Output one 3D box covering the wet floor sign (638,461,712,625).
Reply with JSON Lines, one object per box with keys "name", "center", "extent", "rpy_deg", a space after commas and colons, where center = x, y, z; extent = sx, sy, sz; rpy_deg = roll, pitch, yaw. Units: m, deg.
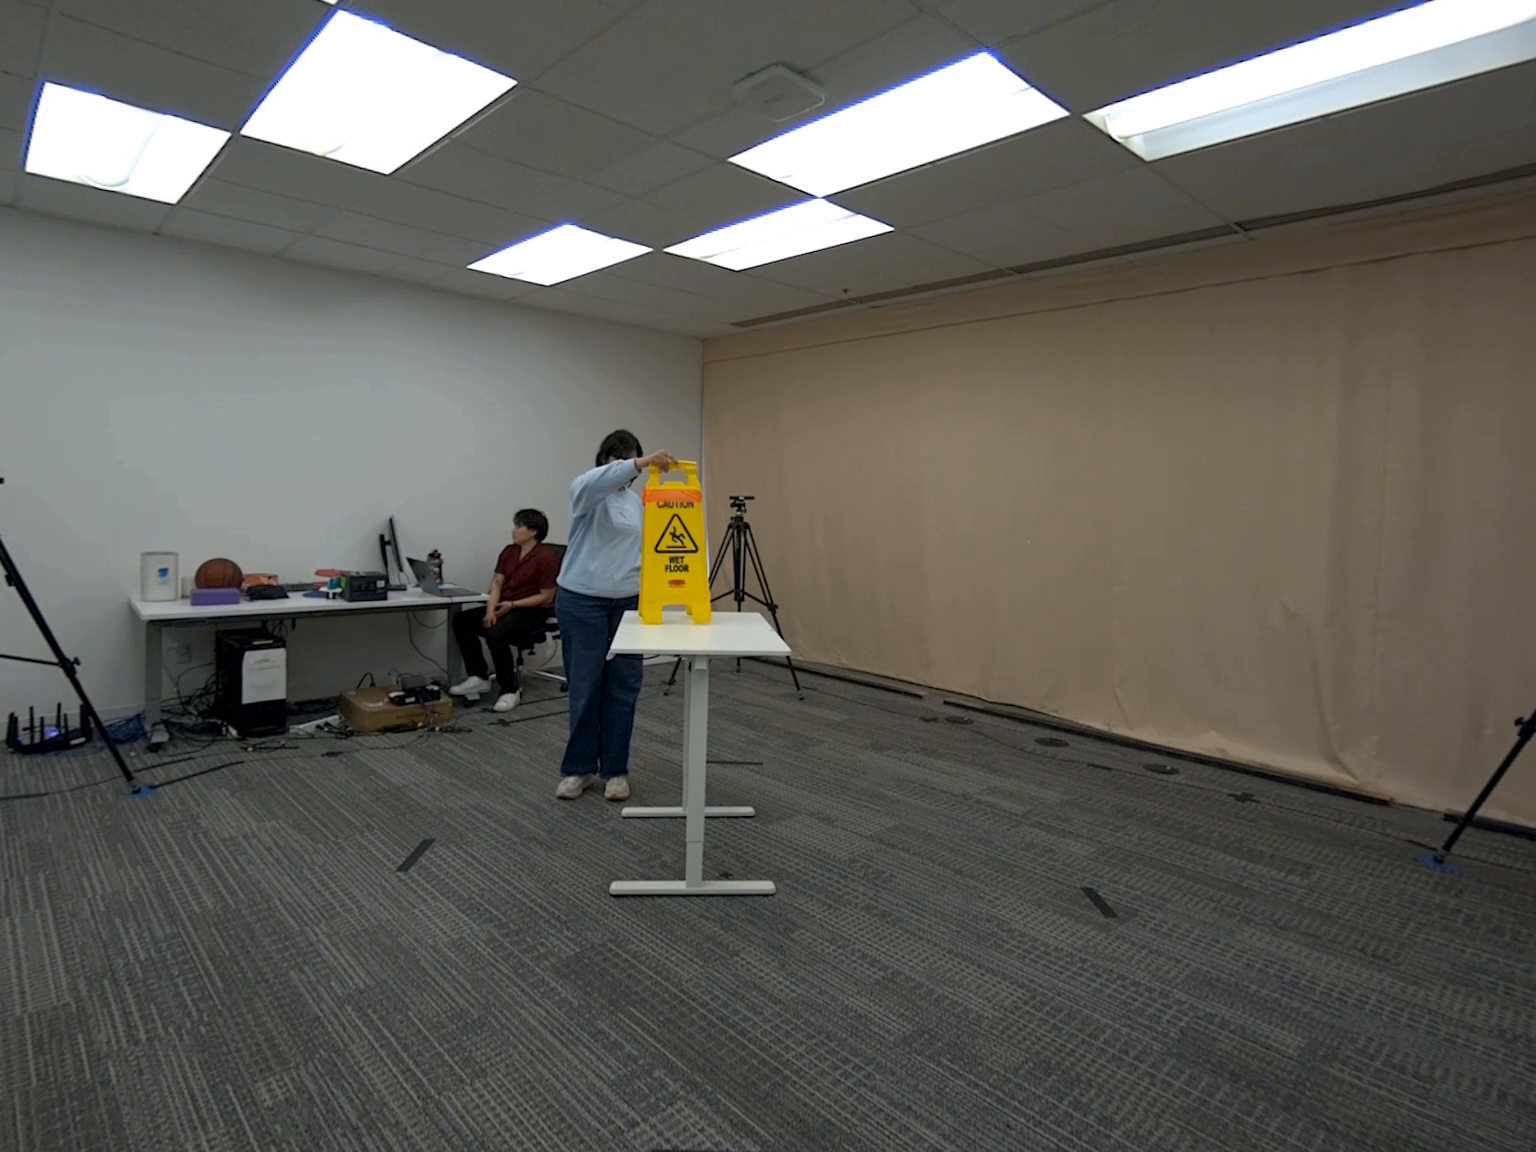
{"name": "wet floor sign", "center": [-0.396, -0.144, 3.459], "extent": [0.280, 0.644, 0.293], "rpy_deg": [-1, 4, -11]}
